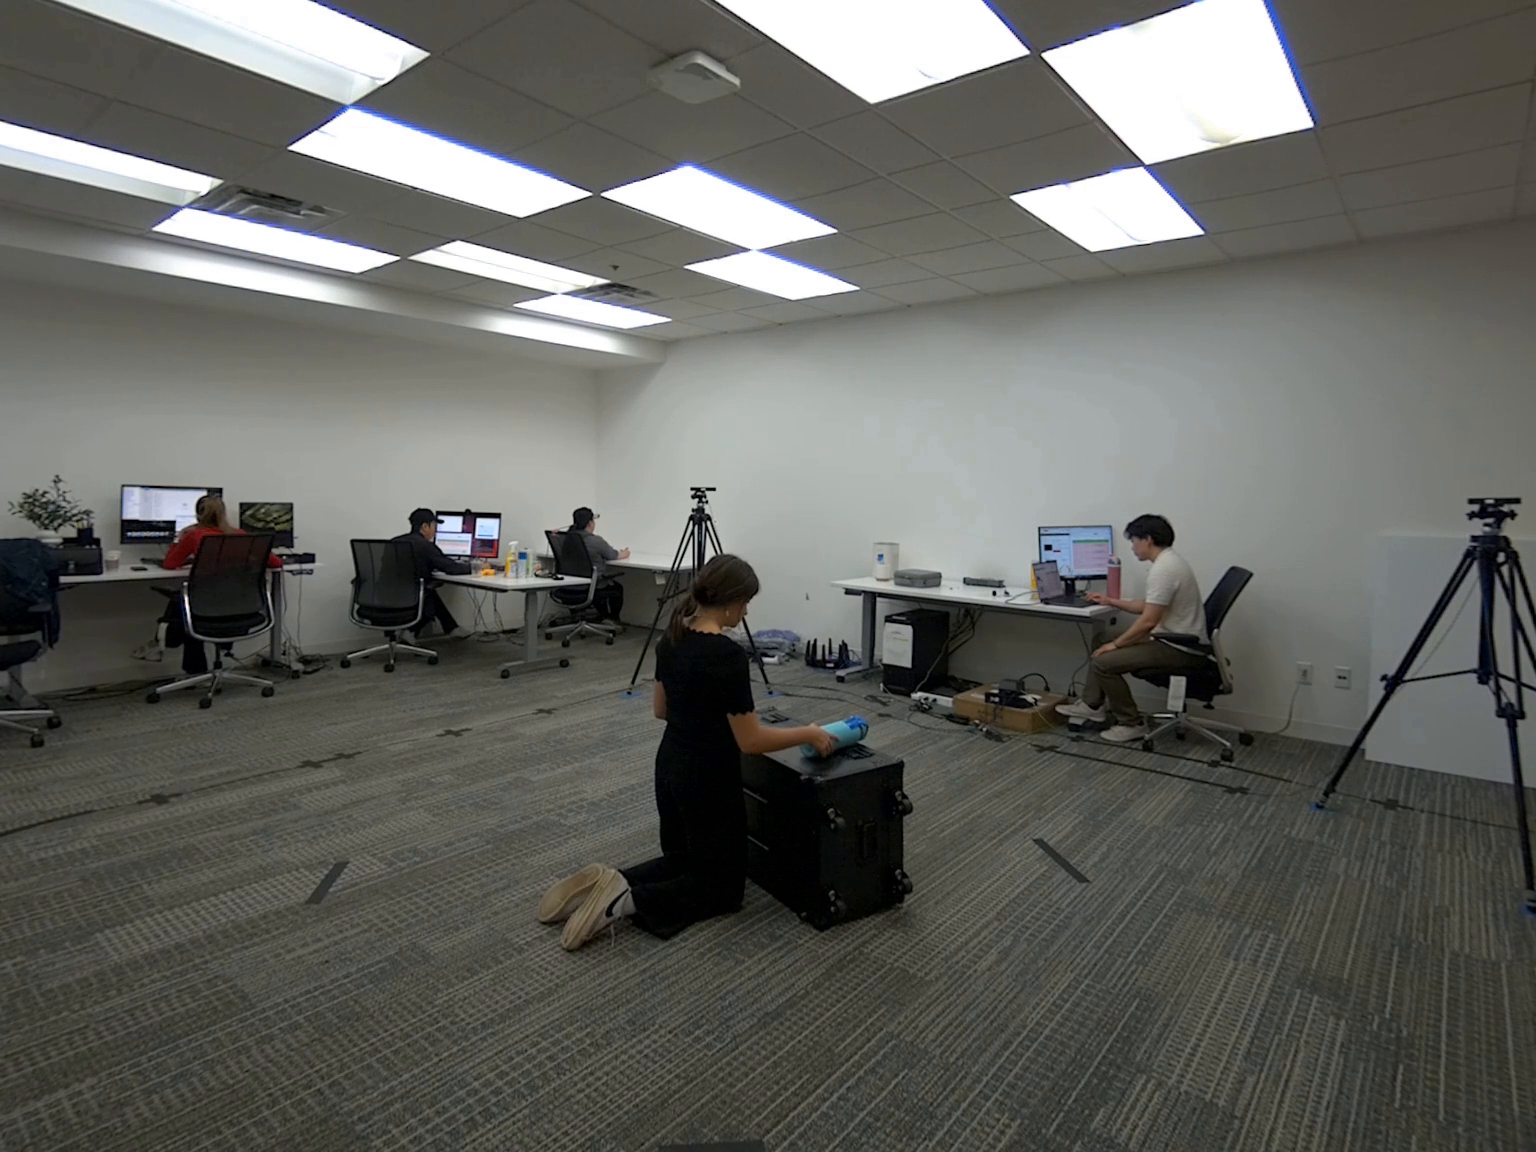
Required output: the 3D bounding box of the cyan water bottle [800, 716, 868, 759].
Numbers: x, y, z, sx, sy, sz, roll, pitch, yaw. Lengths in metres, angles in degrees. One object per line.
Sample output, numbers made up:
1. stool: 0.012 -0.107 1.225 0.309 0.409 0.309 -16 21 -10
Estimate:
1. cyan water bottle: 0.228 0.555 2.949 0.276 0.092 0.095 -7 8 -36
